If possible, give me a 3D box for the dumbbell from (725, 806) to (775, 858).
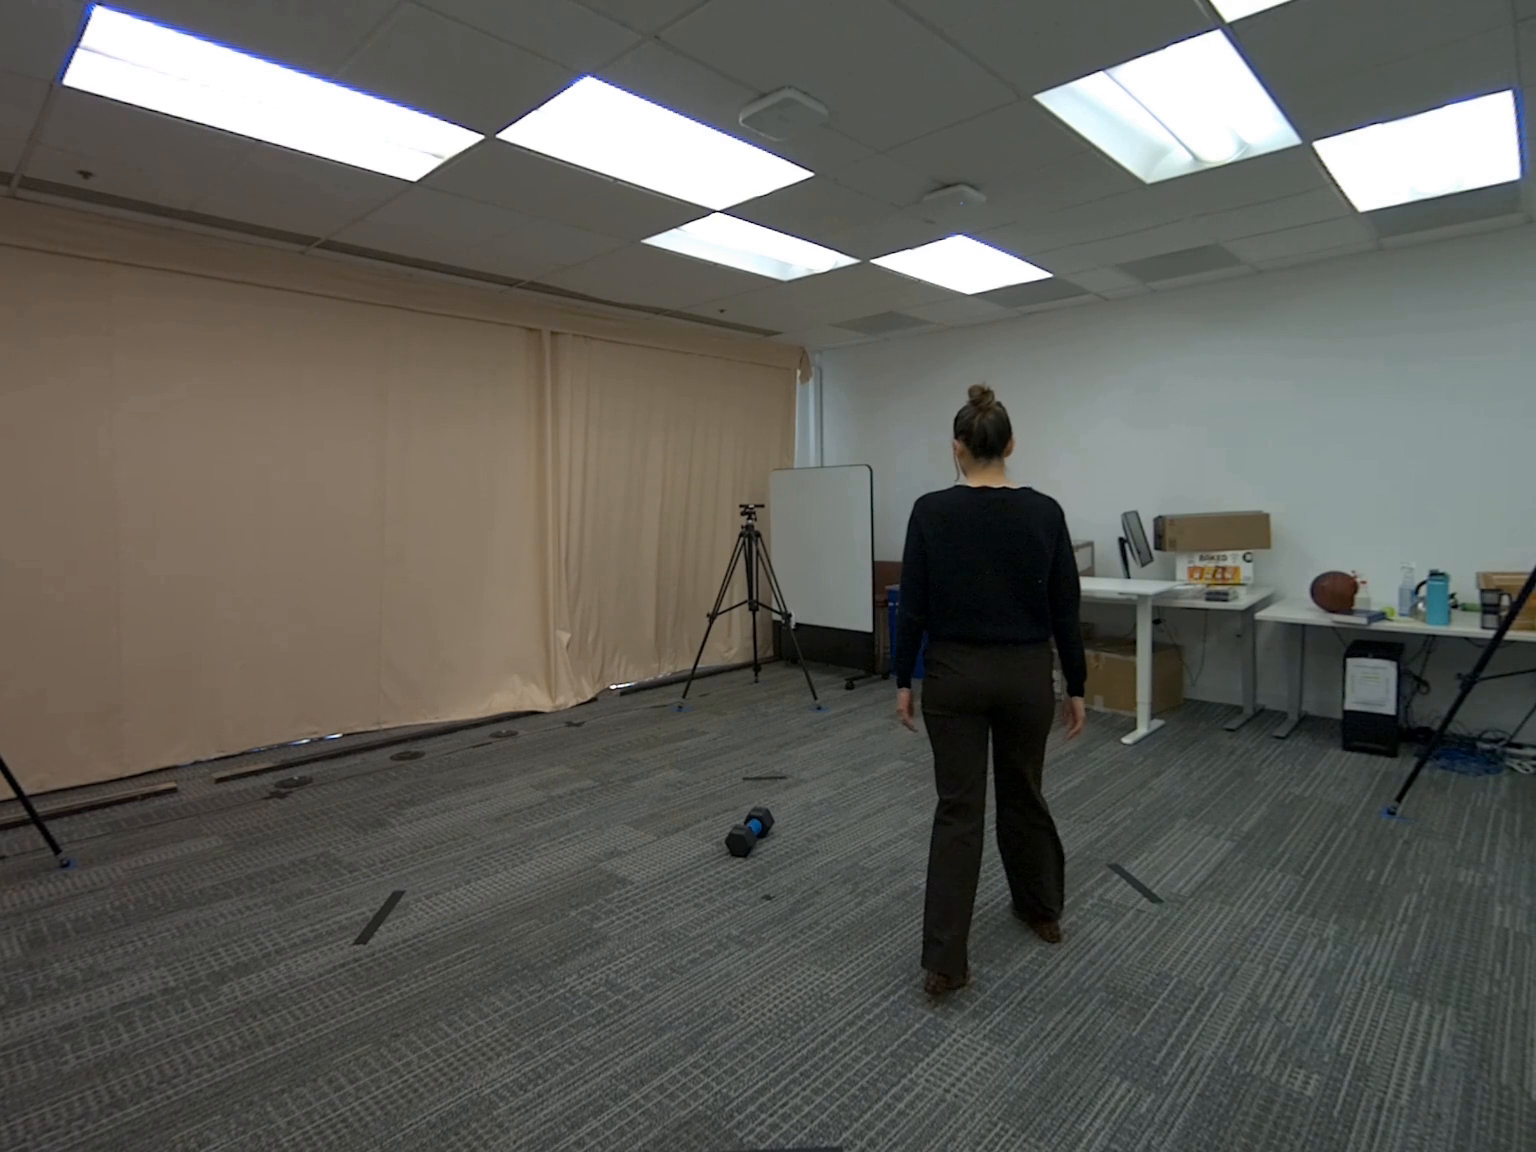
[{"bbox_3d":[-0.069,1.043,3.449,0.126,0.108,0.288,3,6,20],"label":"dumbbell"}]
